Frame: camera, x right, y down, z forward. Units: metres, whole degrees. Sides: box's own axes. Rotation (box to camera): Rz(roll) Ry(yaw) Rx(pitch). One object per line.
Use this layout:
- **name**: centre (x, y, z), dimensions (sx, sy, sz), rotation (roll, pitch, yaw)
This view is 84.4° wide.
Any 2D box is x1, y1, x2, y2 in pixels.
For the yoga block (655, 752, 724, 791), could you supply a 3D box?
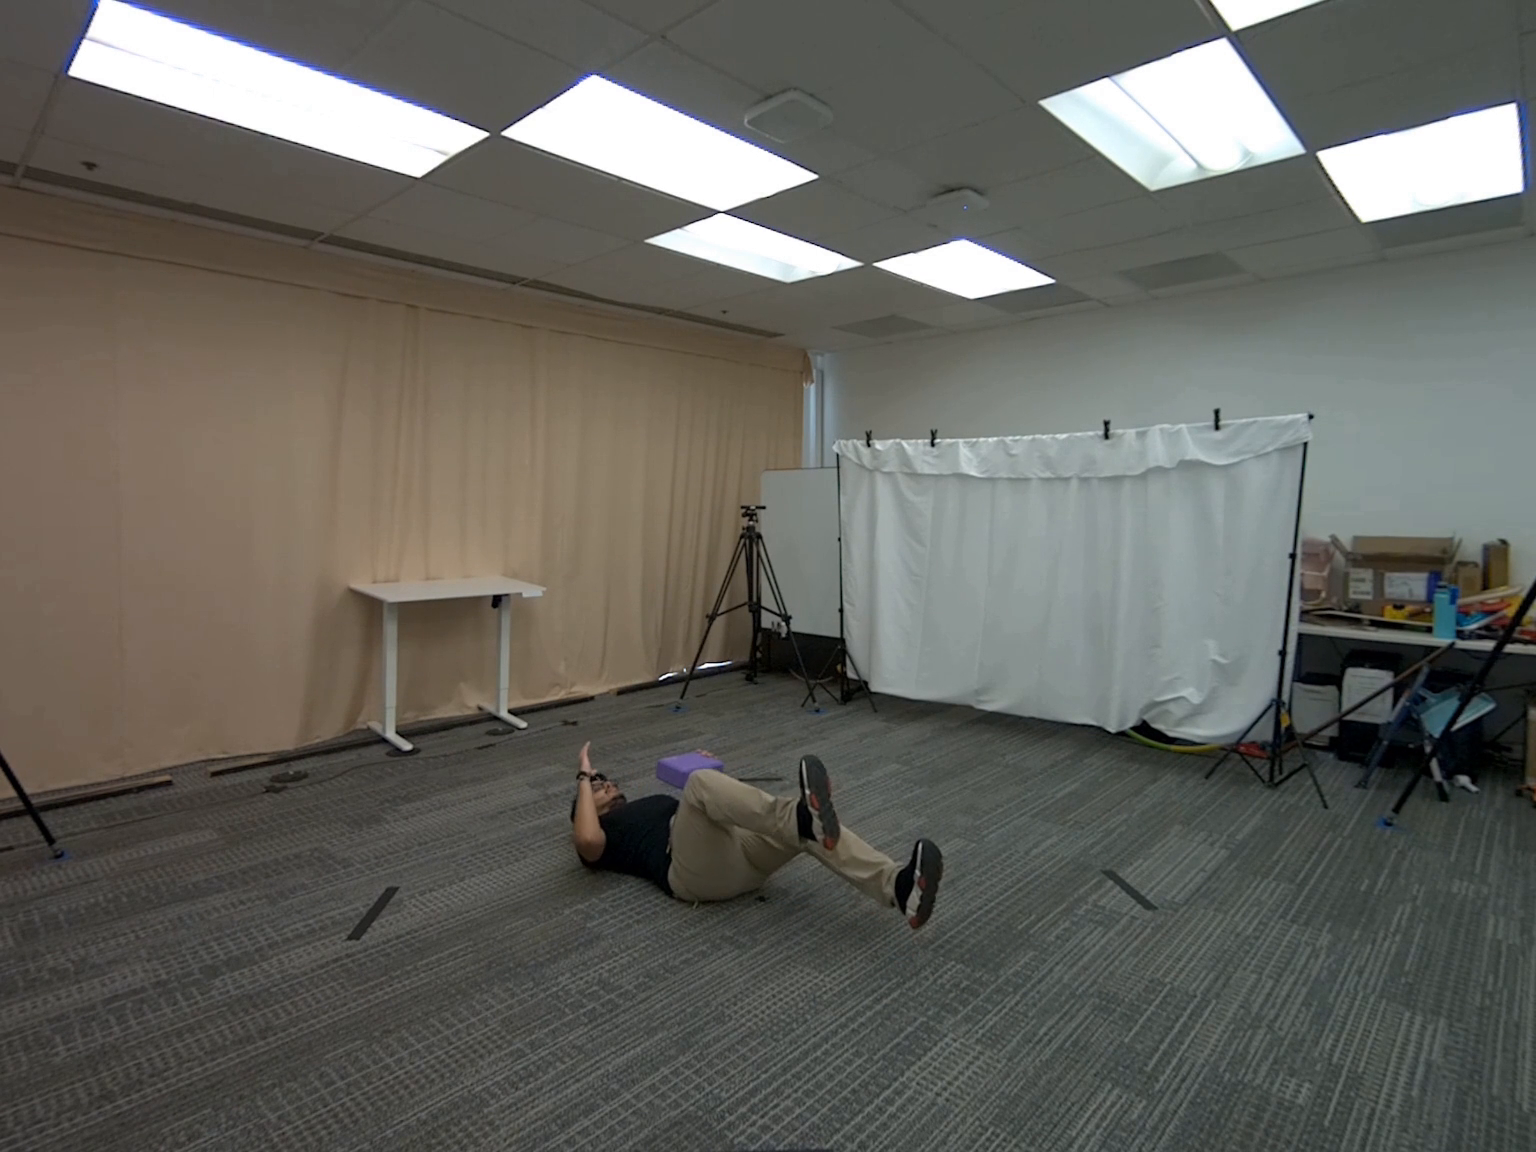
- **yoga block**: centre (-0.295, 0.735, 3.169), dimensions (0.154, 0.076, 0.222), rotation (12, 5, 37)
